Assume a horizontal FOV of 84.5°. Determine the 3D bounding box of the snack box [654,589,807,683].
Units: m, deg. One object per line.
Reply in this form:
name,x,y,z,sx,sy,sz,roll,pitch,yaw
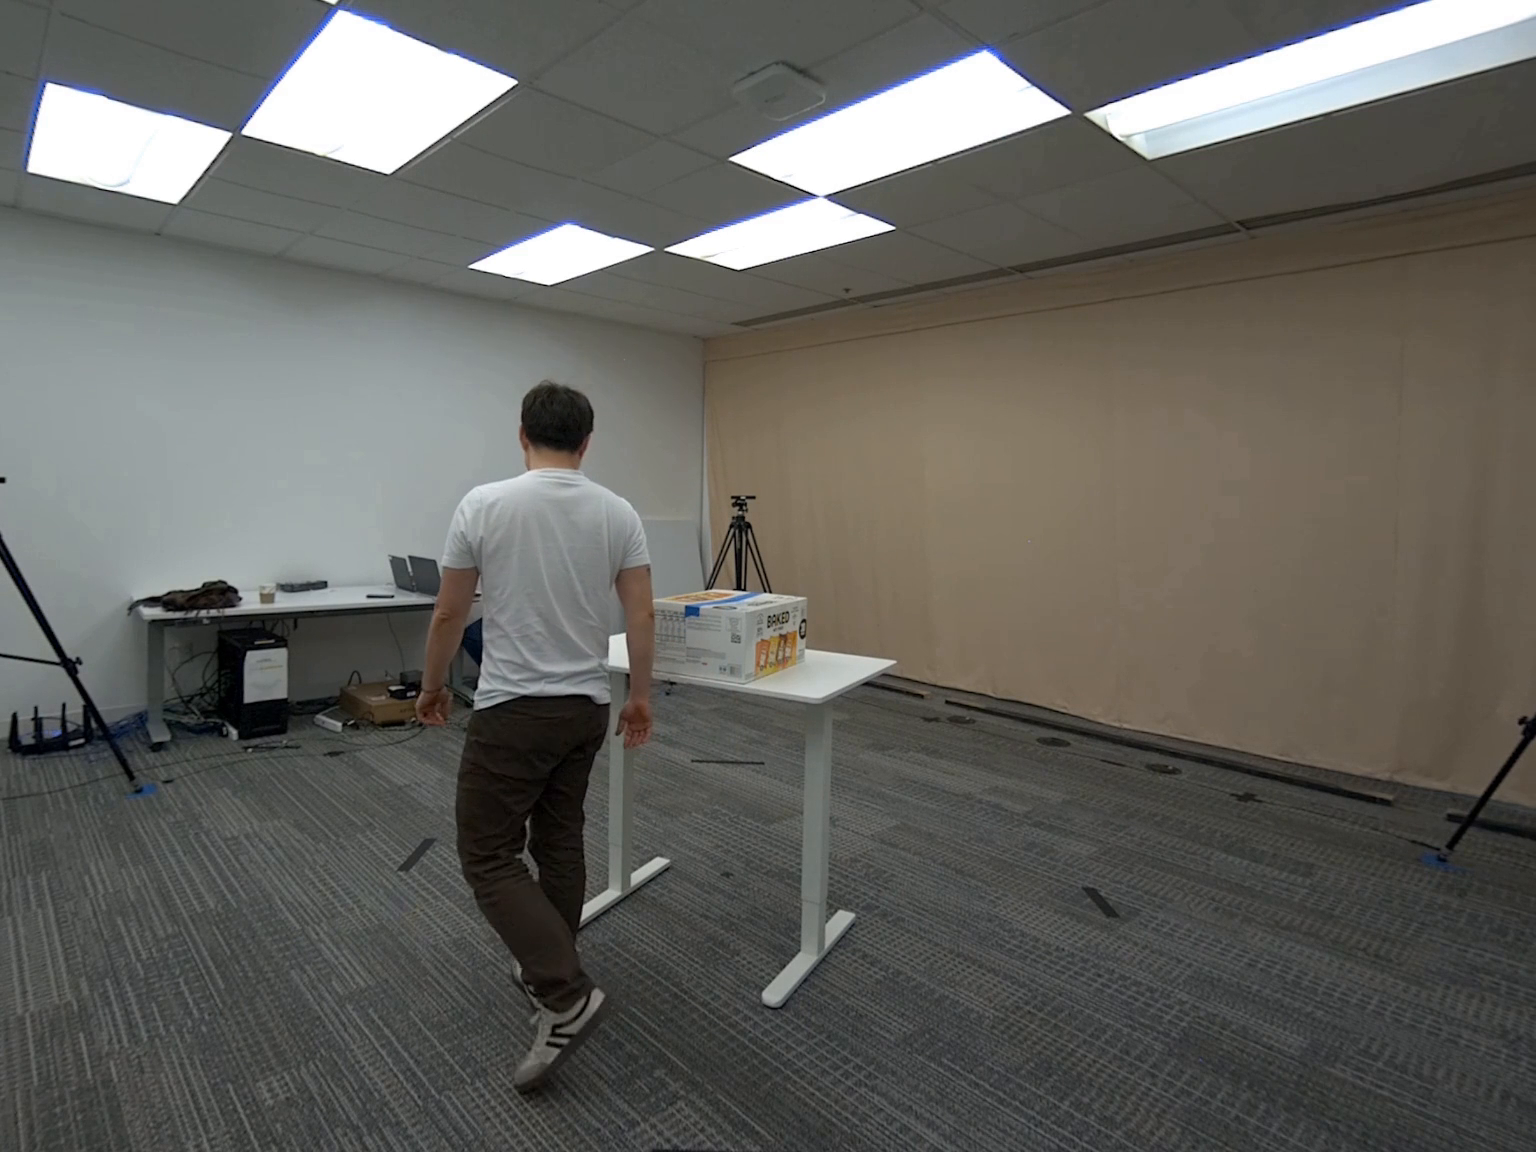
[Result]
snack box,-0.124,0.174,2.551,0.347,0.205,0.398,4,6,28
